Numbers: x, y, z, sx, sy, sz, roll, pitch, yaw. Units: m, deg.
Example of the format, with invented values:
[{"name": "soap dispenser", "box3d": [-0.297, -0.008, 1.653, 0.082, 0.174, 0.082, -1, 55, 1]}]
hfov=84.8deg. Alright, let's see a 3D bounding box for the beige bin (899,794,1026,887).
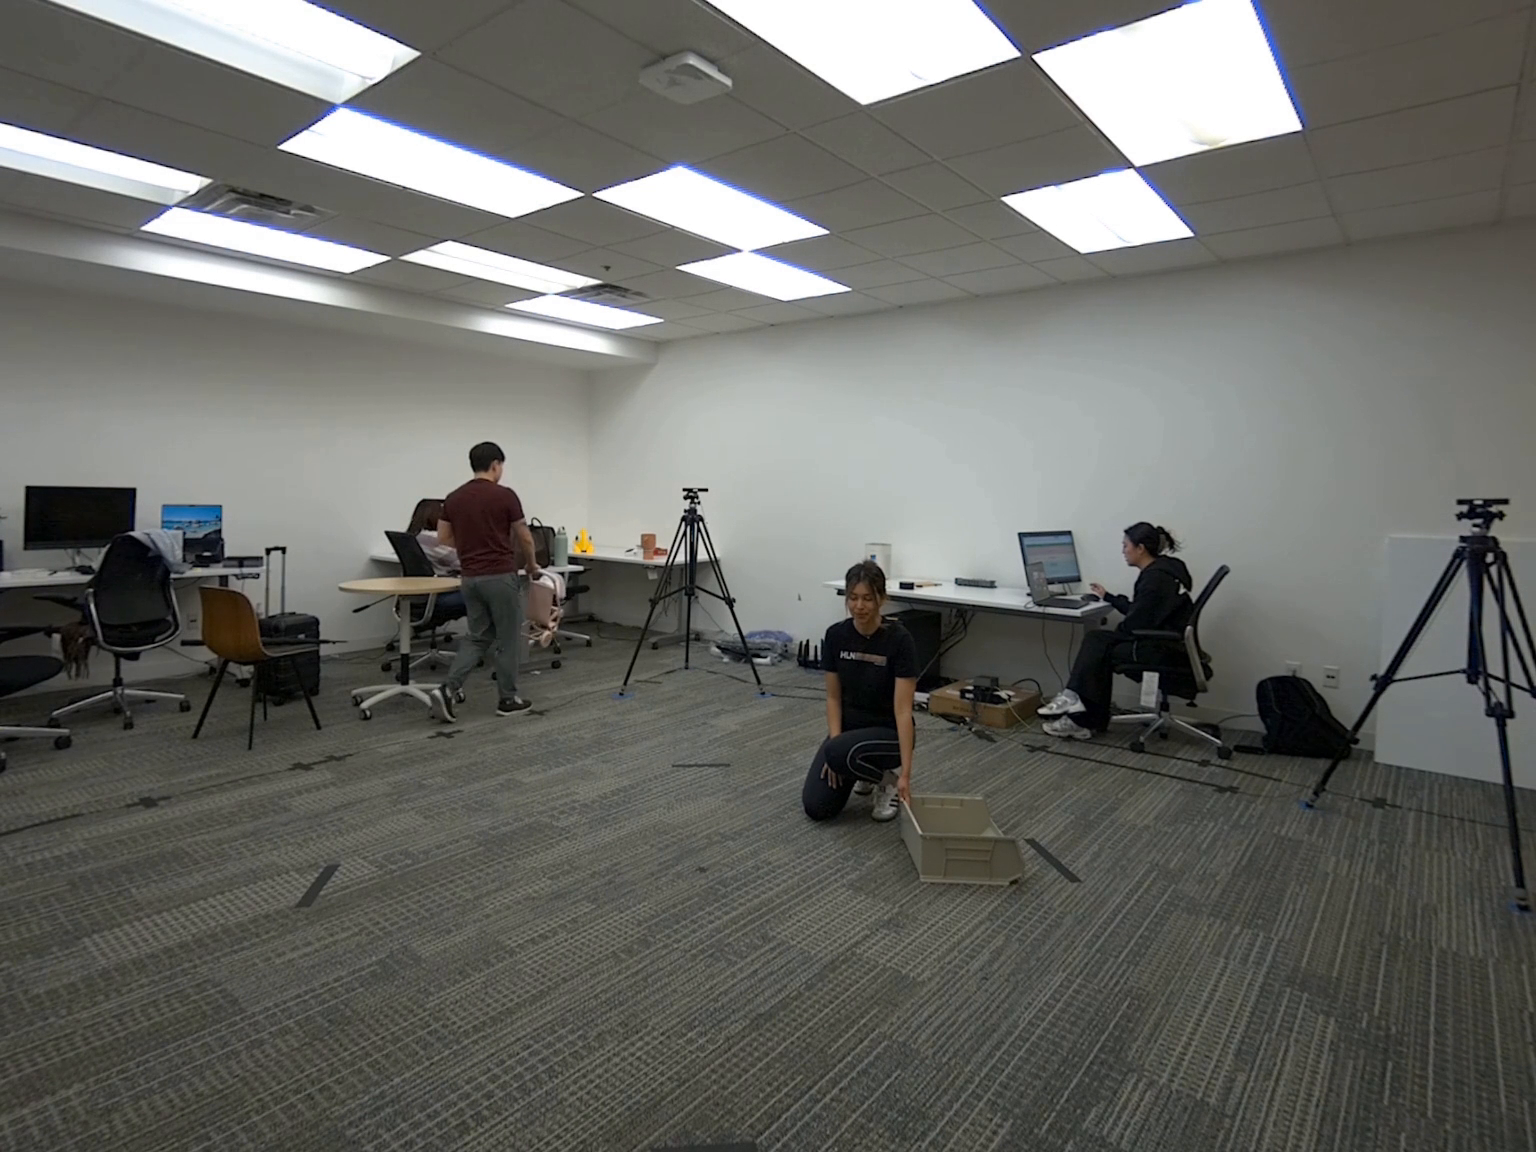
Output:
[{"name": "beige bin", "box3d": [0.727, 0.991, 3.246, 0.377, 0.188, 0.424, 0, 5, -1]}]
